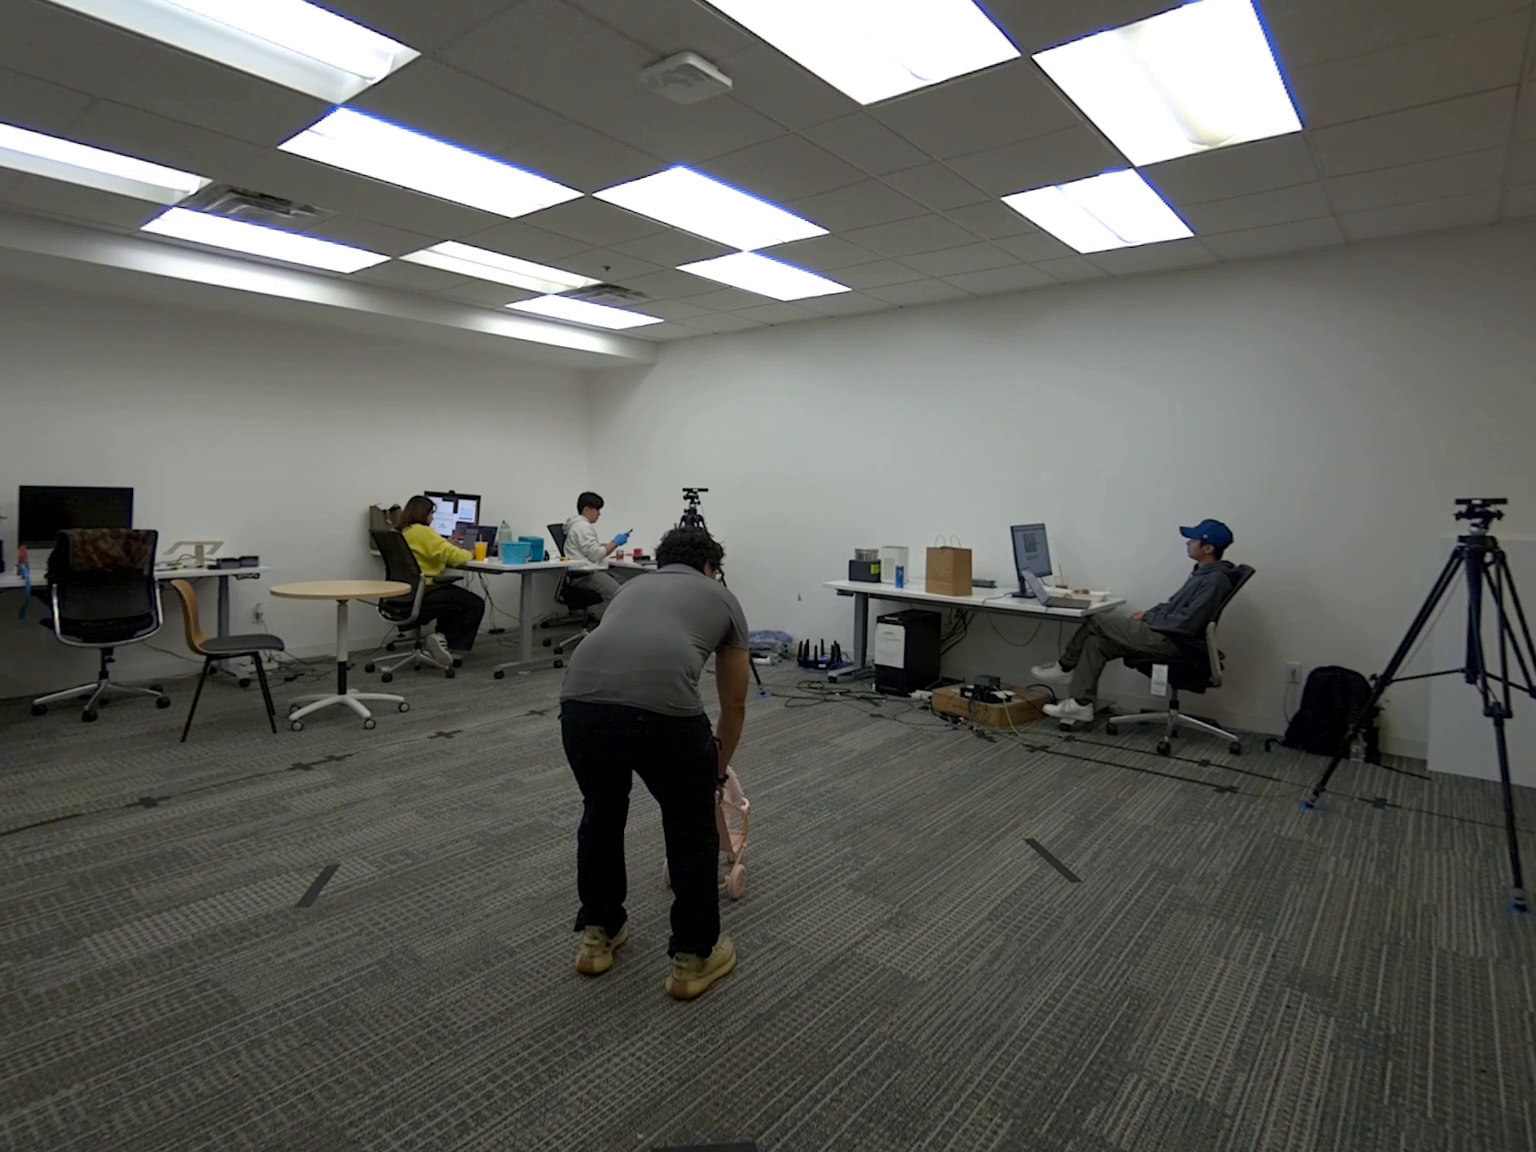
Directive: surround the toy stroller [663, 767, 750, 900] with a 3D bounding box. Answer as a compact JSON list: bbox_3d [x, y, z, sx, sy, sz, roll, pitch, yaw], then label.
[{"bbox_3d":[-0.199,0.860,2.991,0.289,0.525,0.339,3,21,25],"label":"toy stroller"}]
